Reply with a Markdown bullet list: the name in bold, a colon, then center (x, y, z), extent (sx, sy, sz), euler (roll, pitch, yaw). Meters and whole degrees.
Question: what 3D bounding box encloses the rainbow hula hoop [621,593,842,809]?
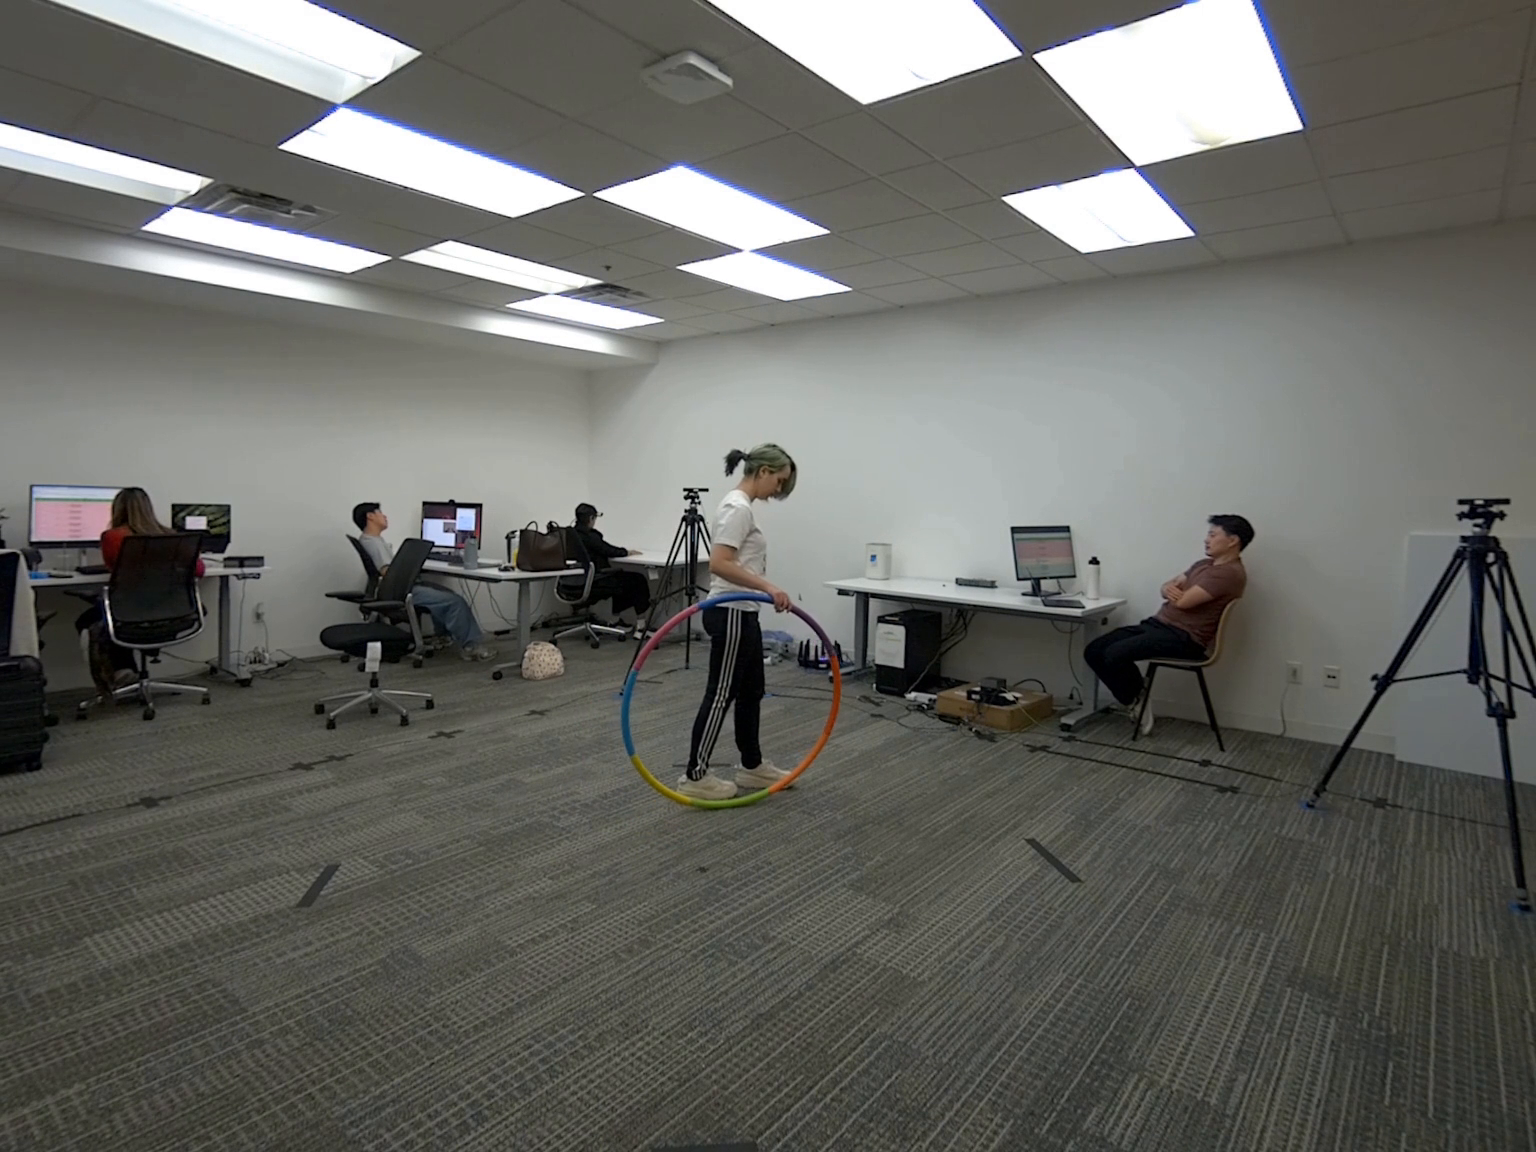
- **rainbow hula hoop**: center (-0.146, 0.540, 3.634), extent (0.960, 0.968, 0.036), euler (0, 13, -19)
